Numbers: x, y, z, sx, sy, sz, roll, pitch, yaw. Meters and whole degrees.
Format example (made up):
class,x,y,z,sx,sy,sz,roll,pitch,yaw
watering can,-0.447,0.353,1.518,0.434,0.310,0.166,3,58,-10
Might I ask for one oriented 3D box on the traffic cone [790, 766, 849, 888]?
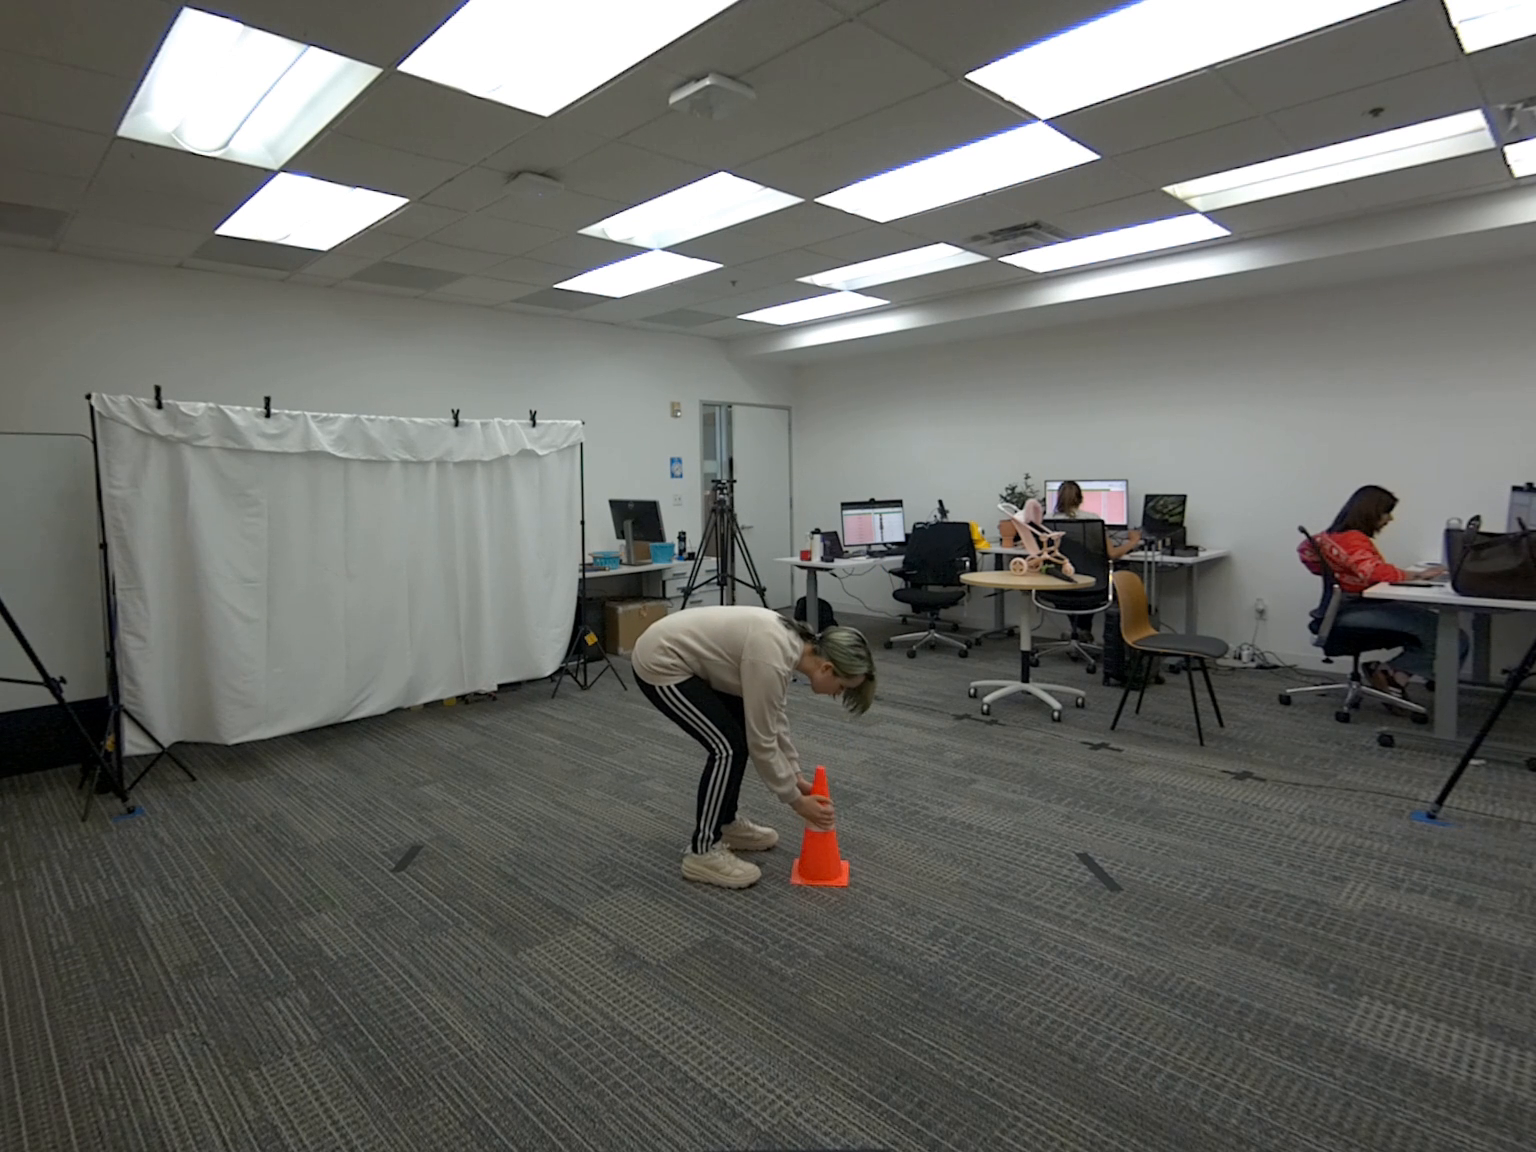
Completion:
class,x,y,z,sx,sy,sz,roll,pitch,yaw
traffic cone,0.184,0.852,3.014,0.205,0.382,0.204,0,4,9
